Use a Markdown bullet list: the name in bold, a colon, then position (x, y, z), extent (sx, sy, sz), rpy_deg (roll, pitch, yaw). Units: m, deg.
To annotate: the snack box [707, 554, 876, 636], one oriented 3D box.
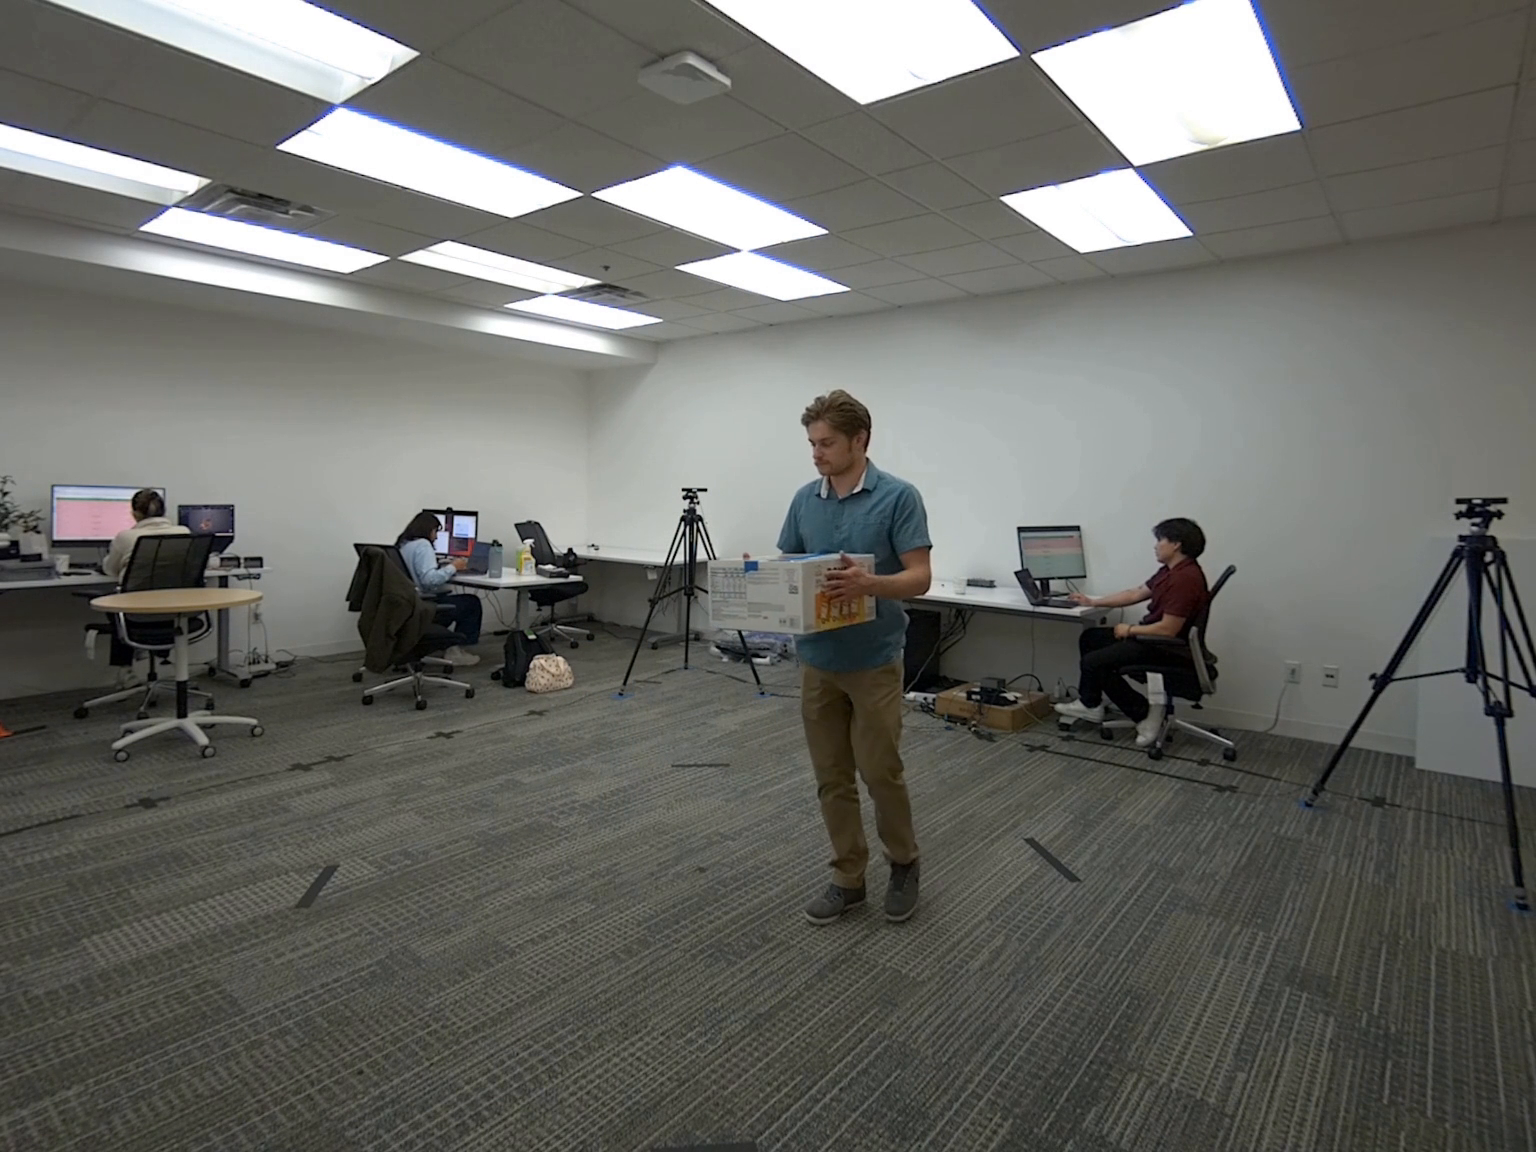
- **snack box**: position (0.070, 0.041, 2.581), extent (0.351, 0.205, 0.393), rpy_deg (0, 4, 38)
